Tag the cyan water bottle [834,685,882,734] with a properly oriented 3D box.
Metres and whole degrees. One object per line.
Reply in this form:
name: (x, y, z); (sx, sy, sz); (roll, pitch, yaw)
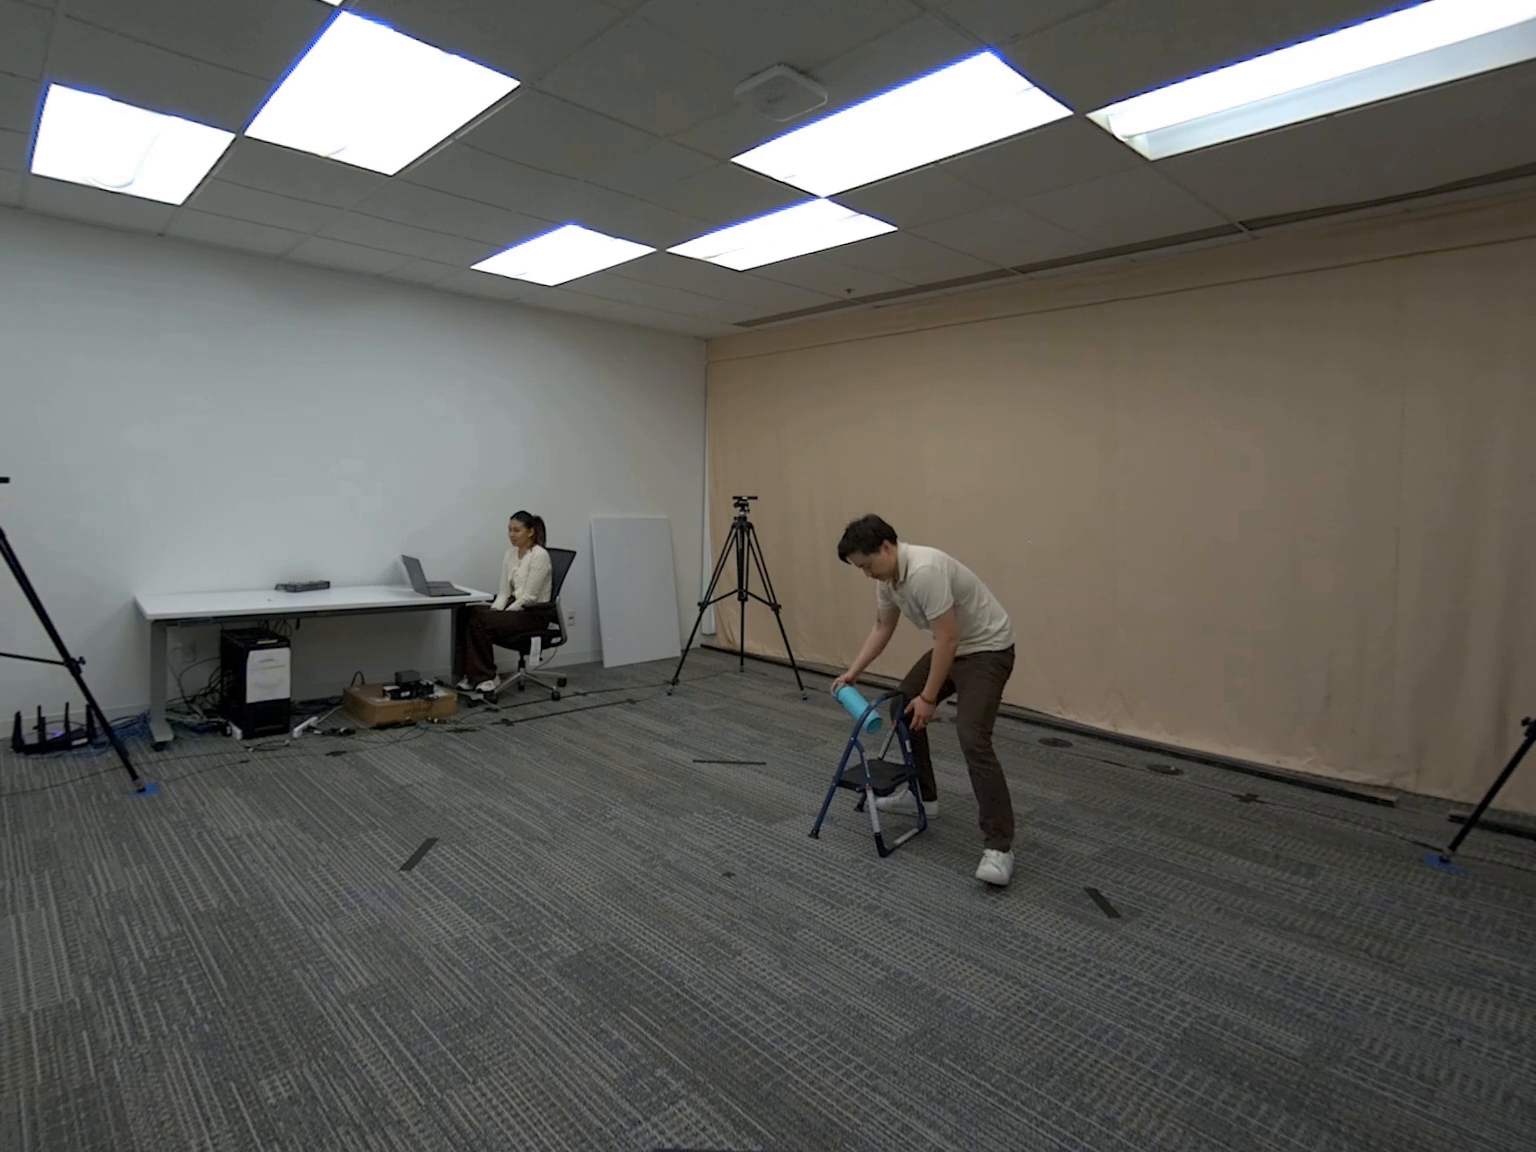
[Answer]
cyan water bottle: (0.377, 0.549, 3.636); (0.090, 0.091, 0.292); (-1, 28, -28)
